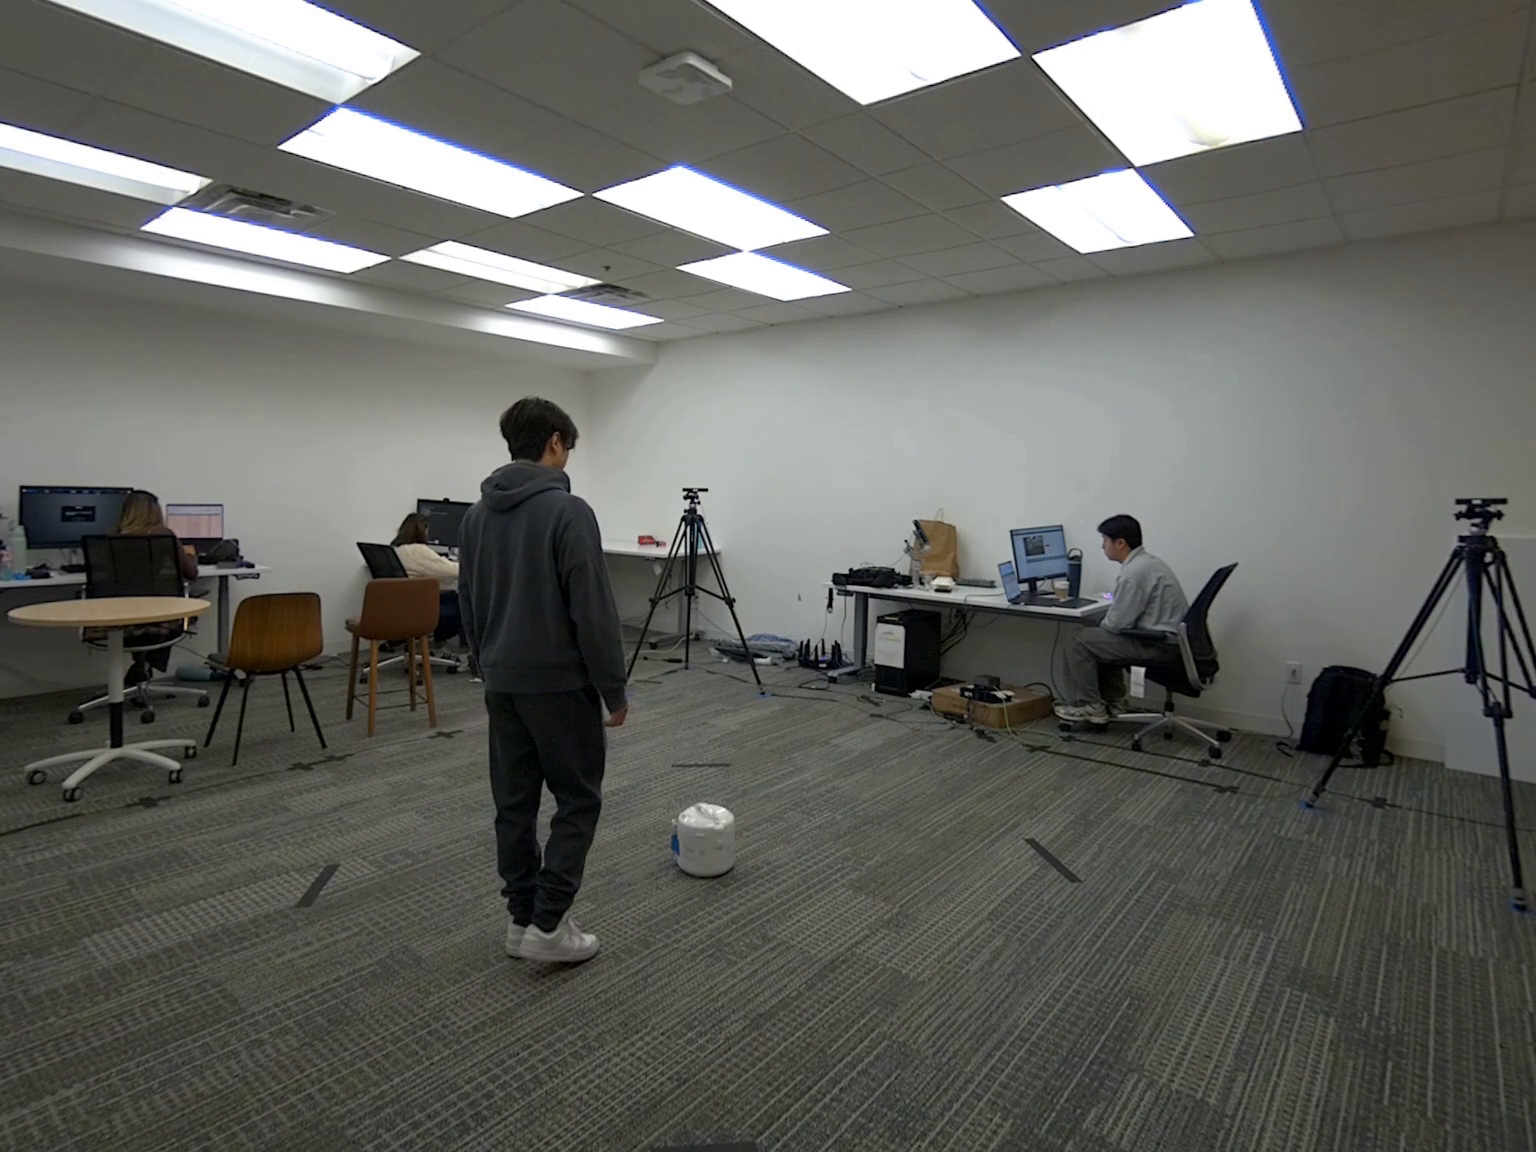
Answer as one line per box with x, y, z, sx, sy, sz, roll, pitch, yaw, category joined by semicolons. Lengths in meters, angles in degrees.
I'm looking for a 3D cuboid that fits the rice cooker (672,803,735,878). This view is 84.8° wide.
-0.237;0.950;3.119;0.212;0.232;0.227;-2;5;-29;rice cooker
